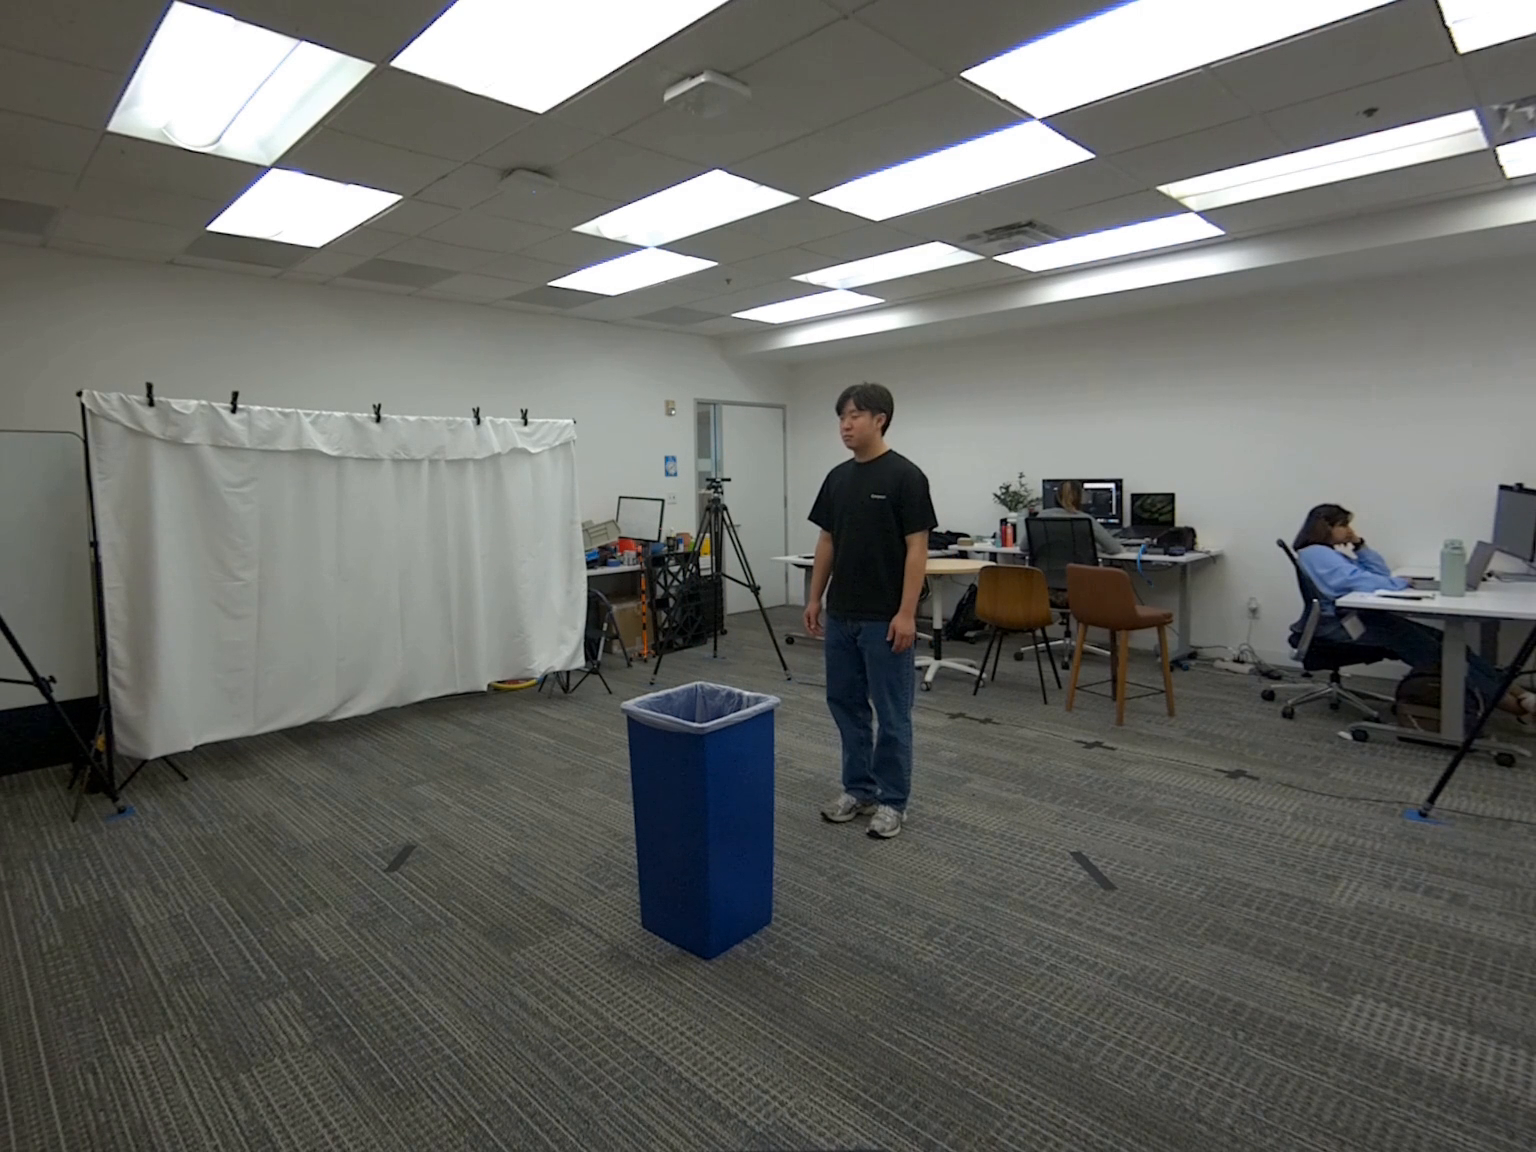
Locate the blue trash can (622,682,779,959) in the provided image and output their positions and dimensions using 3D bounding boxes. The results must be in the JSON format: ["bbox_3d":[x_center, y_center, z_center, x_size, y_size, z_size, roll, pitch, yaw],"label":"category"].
[{"bbox_3d":[-0.195,0.739,2.655,0.389,0.711,0.364,2,5,41],"label":"blue trash can"}]
